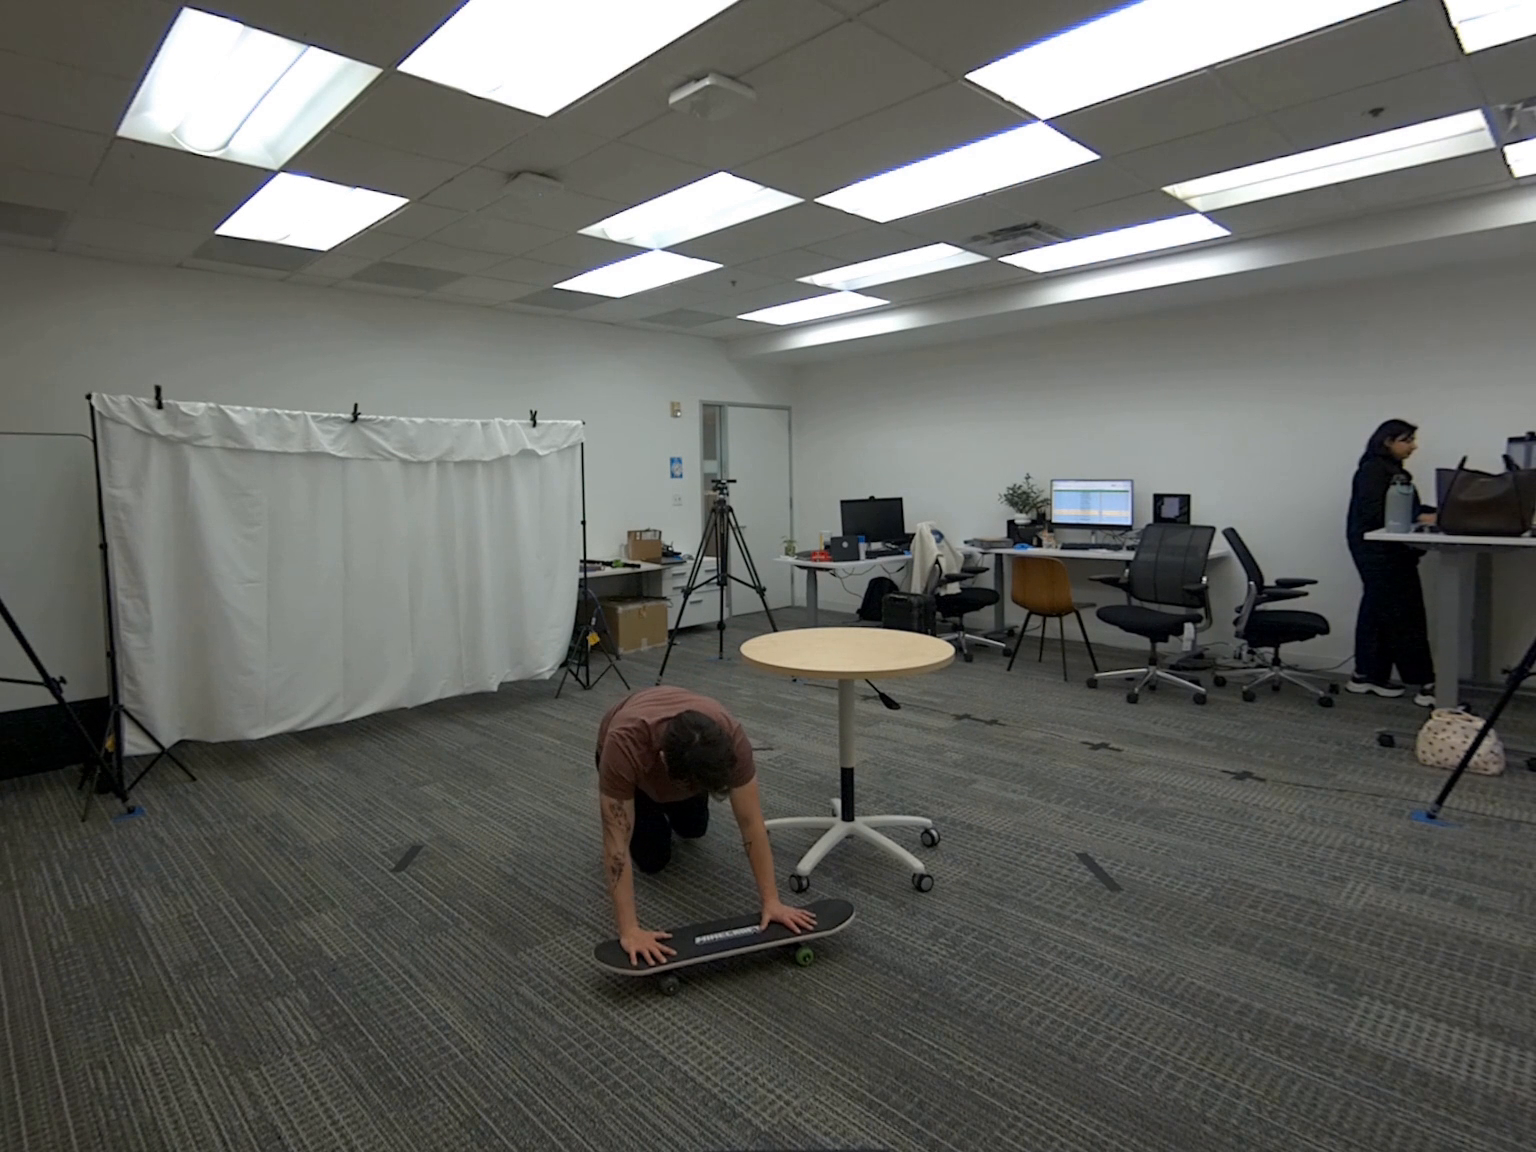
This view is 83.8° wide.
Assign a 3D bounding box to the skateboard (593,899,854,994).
[{"bbox_3d":[-0.113,1.062,2.483,0.774,0.110,0.197,-3,4,-16],"label":"skateboard"}]
